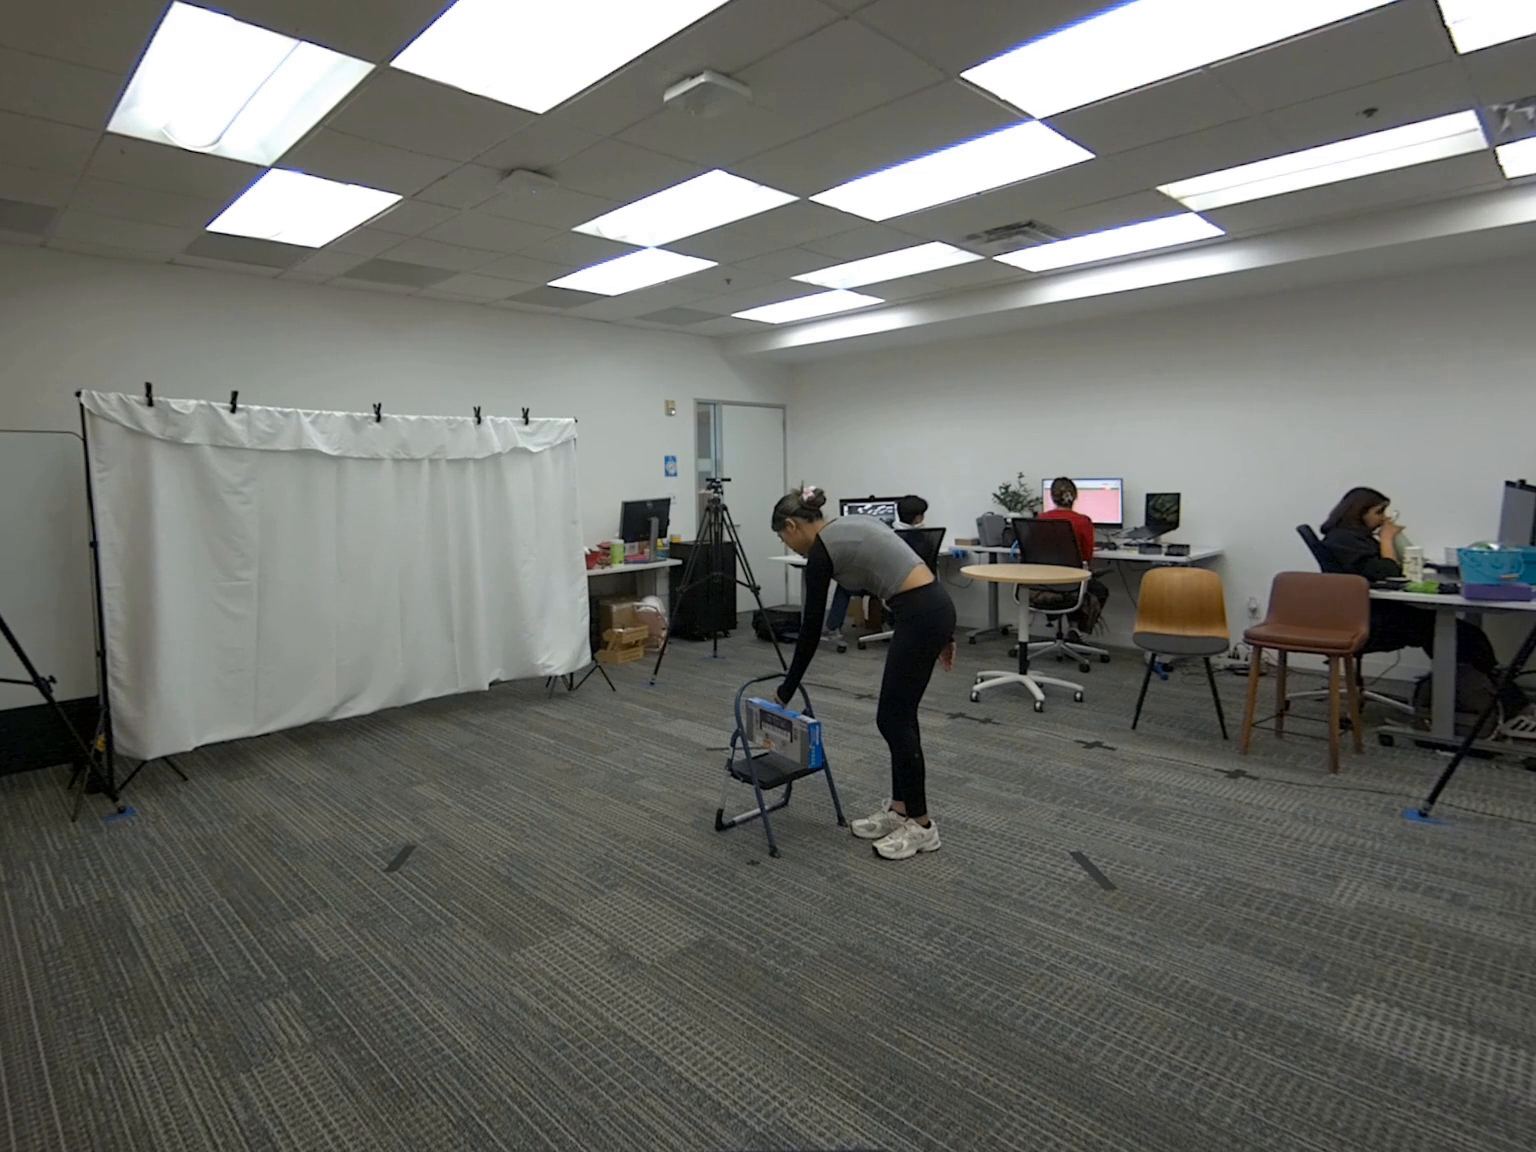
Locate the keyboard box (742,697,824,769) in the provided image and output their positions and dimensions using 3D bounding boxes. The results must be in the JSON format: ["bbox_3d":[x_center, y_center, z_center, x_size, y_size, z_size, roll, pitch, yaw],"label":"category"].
[{"bbox_3d":[0.057,0.611,3.364,0.058,0.175,0.449,-4,6,-32],"label":"keyboard box"}]
